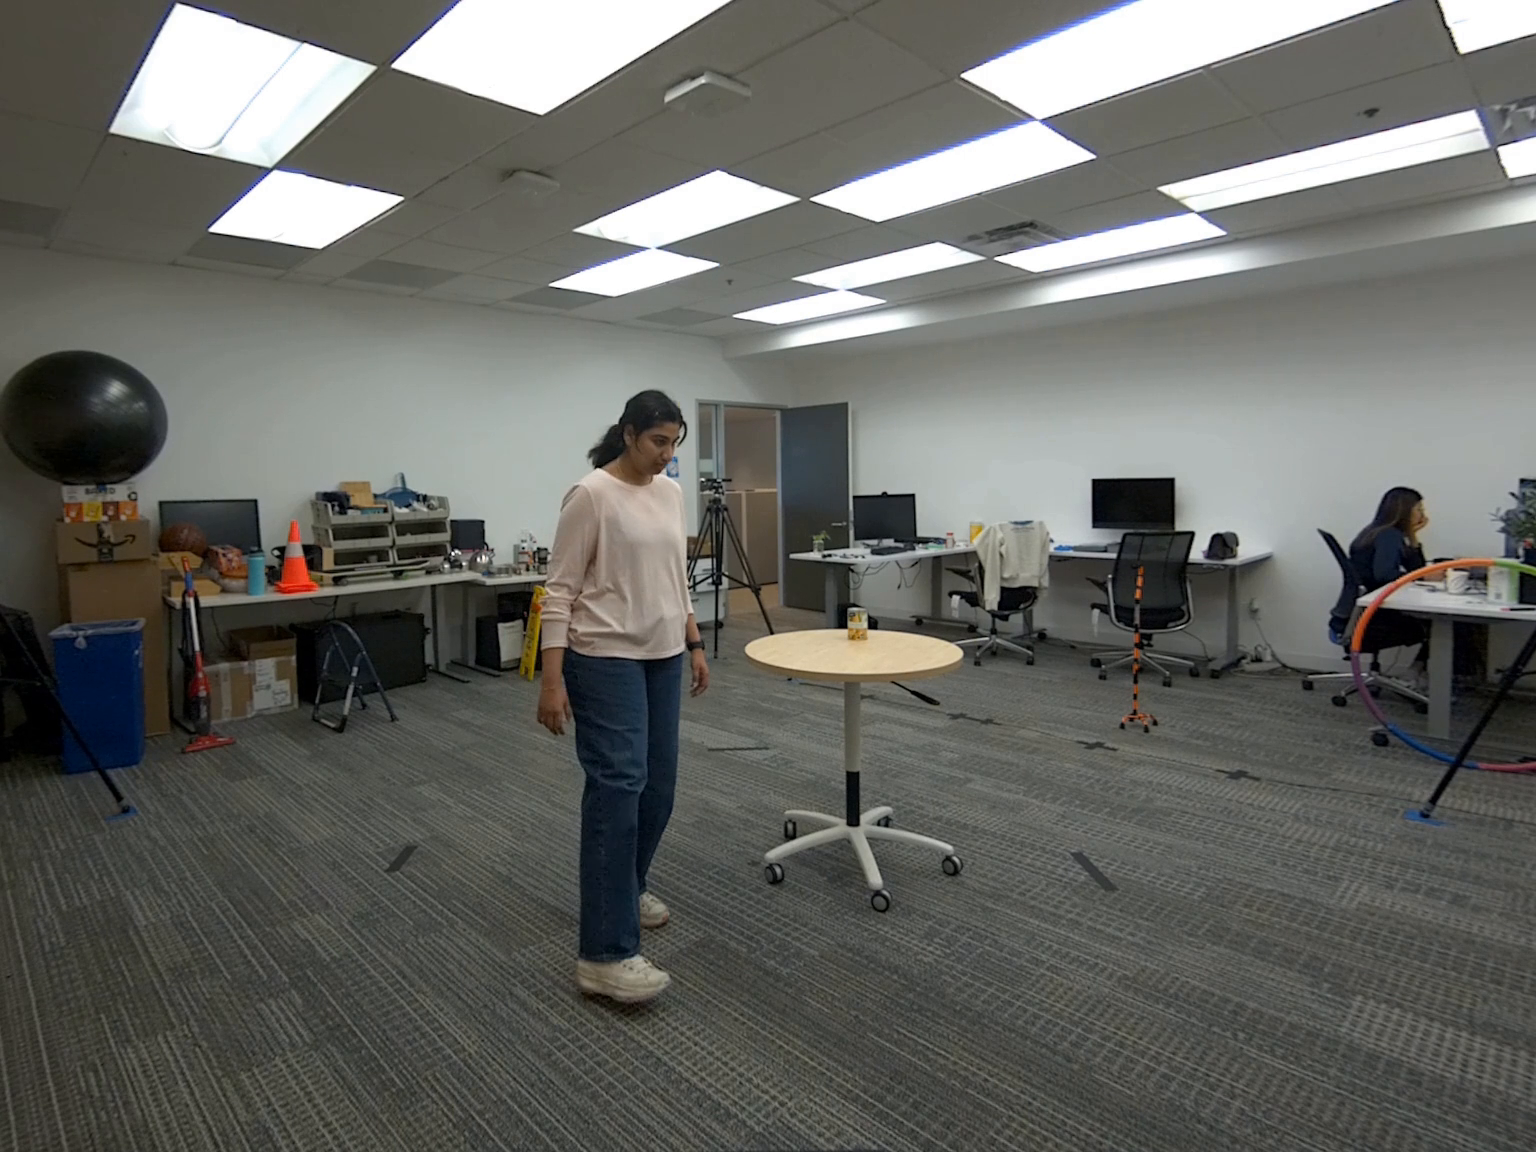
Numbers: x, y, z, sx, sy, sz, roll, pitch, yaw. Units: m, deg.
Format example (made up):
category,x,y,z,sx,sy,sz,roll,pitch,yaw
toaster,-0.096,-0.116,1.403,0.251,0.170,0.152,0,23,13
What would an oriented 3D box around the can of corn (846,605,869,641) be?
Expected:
category,x,y,z,sx,sy,sz,roll,pitch,yaw
can of corn,0.341,0.182,3.236,0.074,0.110,0.074,1,5,-2
